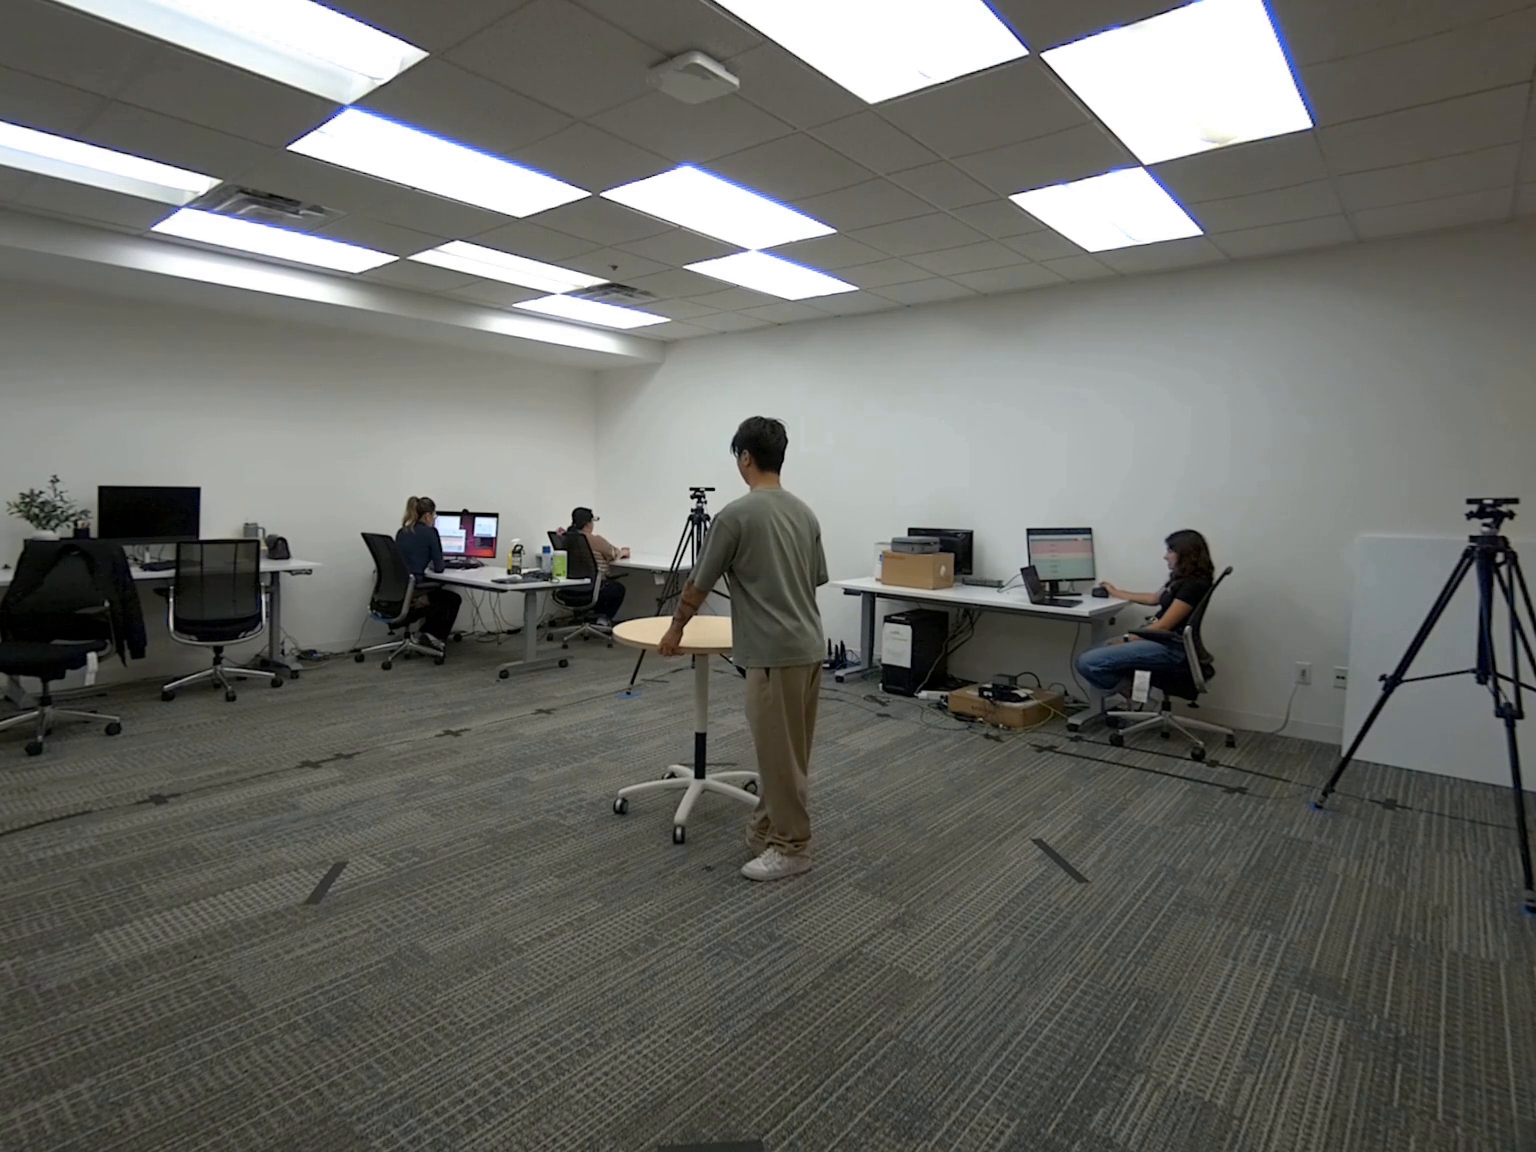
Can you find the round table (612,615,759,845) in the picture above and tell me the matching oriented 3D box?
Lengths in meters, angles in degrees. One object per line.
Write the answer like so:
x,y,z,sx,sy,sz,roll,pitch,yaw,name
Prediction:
-0.309,0.615,3.671,0.784,0.784,0.789,1,5,-2,round table
